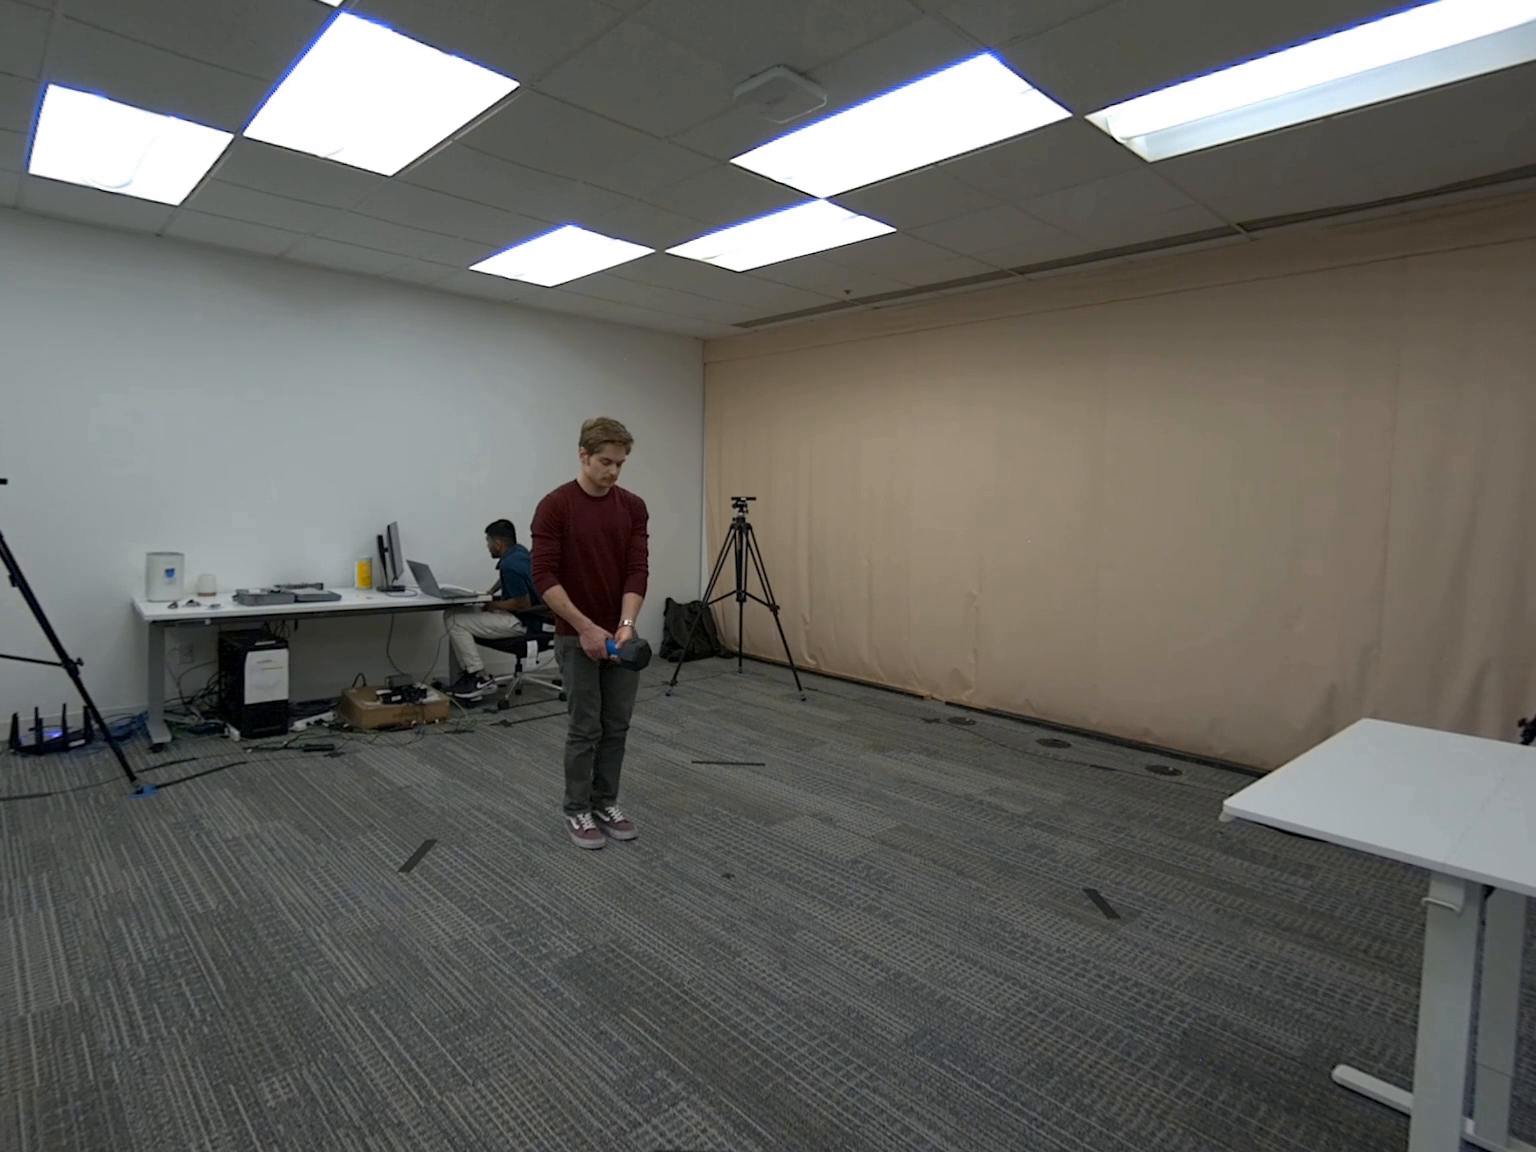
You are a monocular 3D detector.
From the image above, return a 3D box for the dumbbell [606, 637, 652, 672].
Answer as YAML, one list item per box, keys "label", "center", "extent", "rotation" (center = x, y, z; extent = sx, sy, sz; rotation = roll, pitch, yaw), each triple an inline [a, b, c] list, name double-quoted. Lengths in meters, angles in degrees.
- label: "dumbbell"
  center: [-0.591, 0.275, 3.165]
  extent: [0.301, 0.119, 0.109]
  rotation: [9, 49, 33]
